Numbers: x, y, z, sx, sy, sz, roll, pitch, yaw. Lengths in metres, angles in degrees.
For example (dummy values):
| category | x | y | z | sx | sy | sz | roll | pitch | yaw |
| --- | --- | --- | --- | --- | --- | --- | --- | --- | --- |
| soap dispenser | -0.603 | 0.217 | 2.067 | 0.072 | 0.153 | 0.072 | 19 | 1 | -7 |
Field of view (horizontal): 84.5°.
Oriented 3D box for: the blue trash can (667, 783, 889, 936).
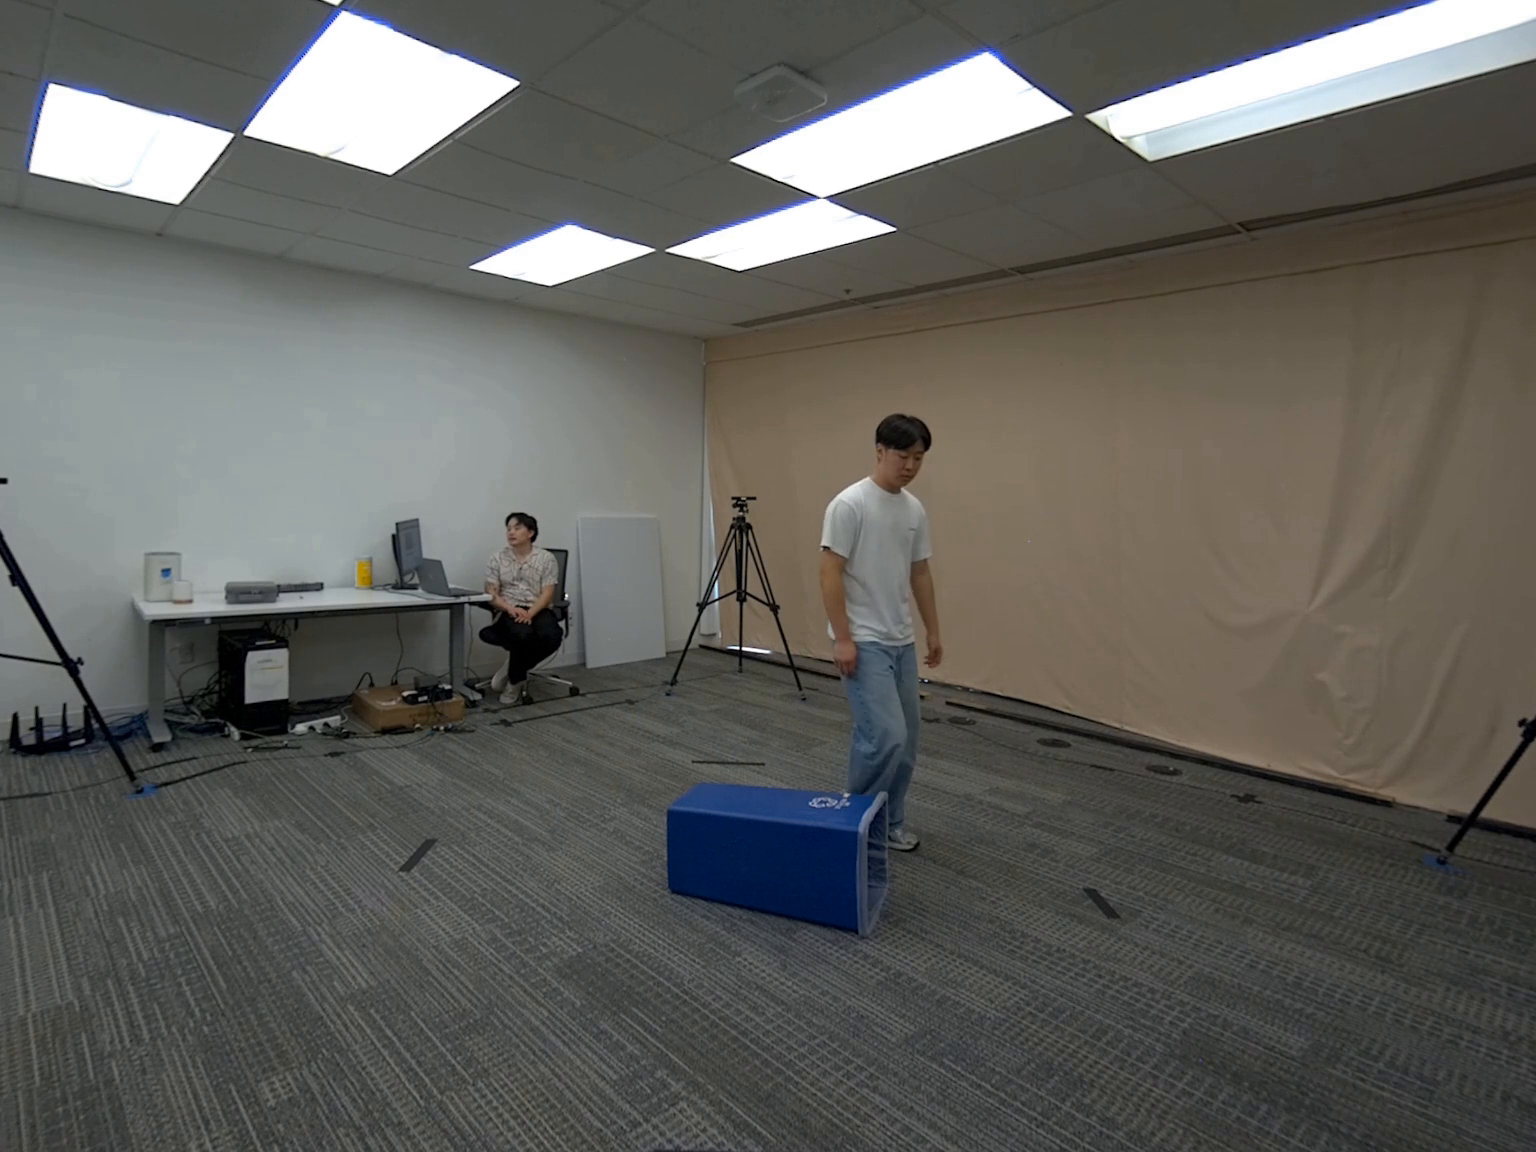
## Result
| category | x | y | z | sx | sy | sz | roll | pitch | yaw |
| --- | --- | --- | --- | --- | --- | --- | --- | --- | --- |
| blue trash can | 0.024 | 0.953 | 2.947 | 0.725 | 0.377 | 0.369 | 0 | 4 | 21 |
